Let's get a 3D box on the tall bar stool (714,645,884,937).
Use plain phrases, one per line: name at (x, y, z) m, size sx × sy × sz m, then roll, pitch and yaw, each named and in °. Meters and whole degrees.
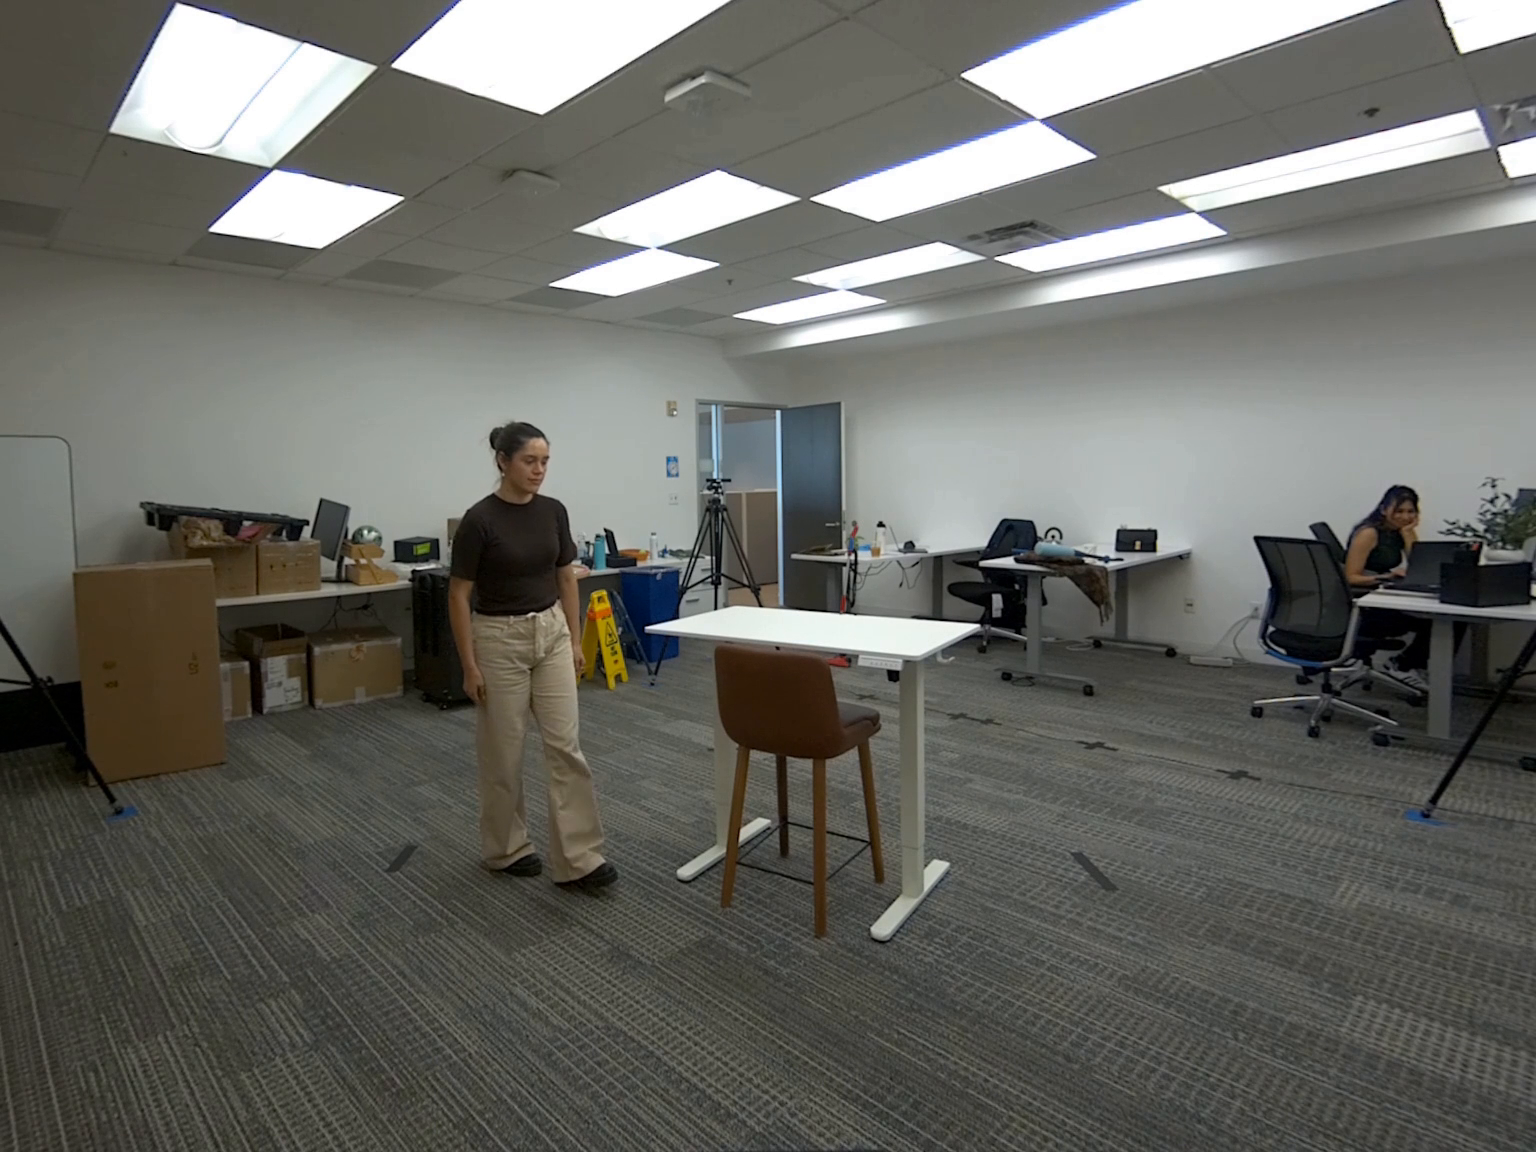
tall bar stool at (0.103, 0.635, 2.849) m, size 0.469 × 0.885 × 0.457 m, roll 2°, pitch 6°, yaw 32°
